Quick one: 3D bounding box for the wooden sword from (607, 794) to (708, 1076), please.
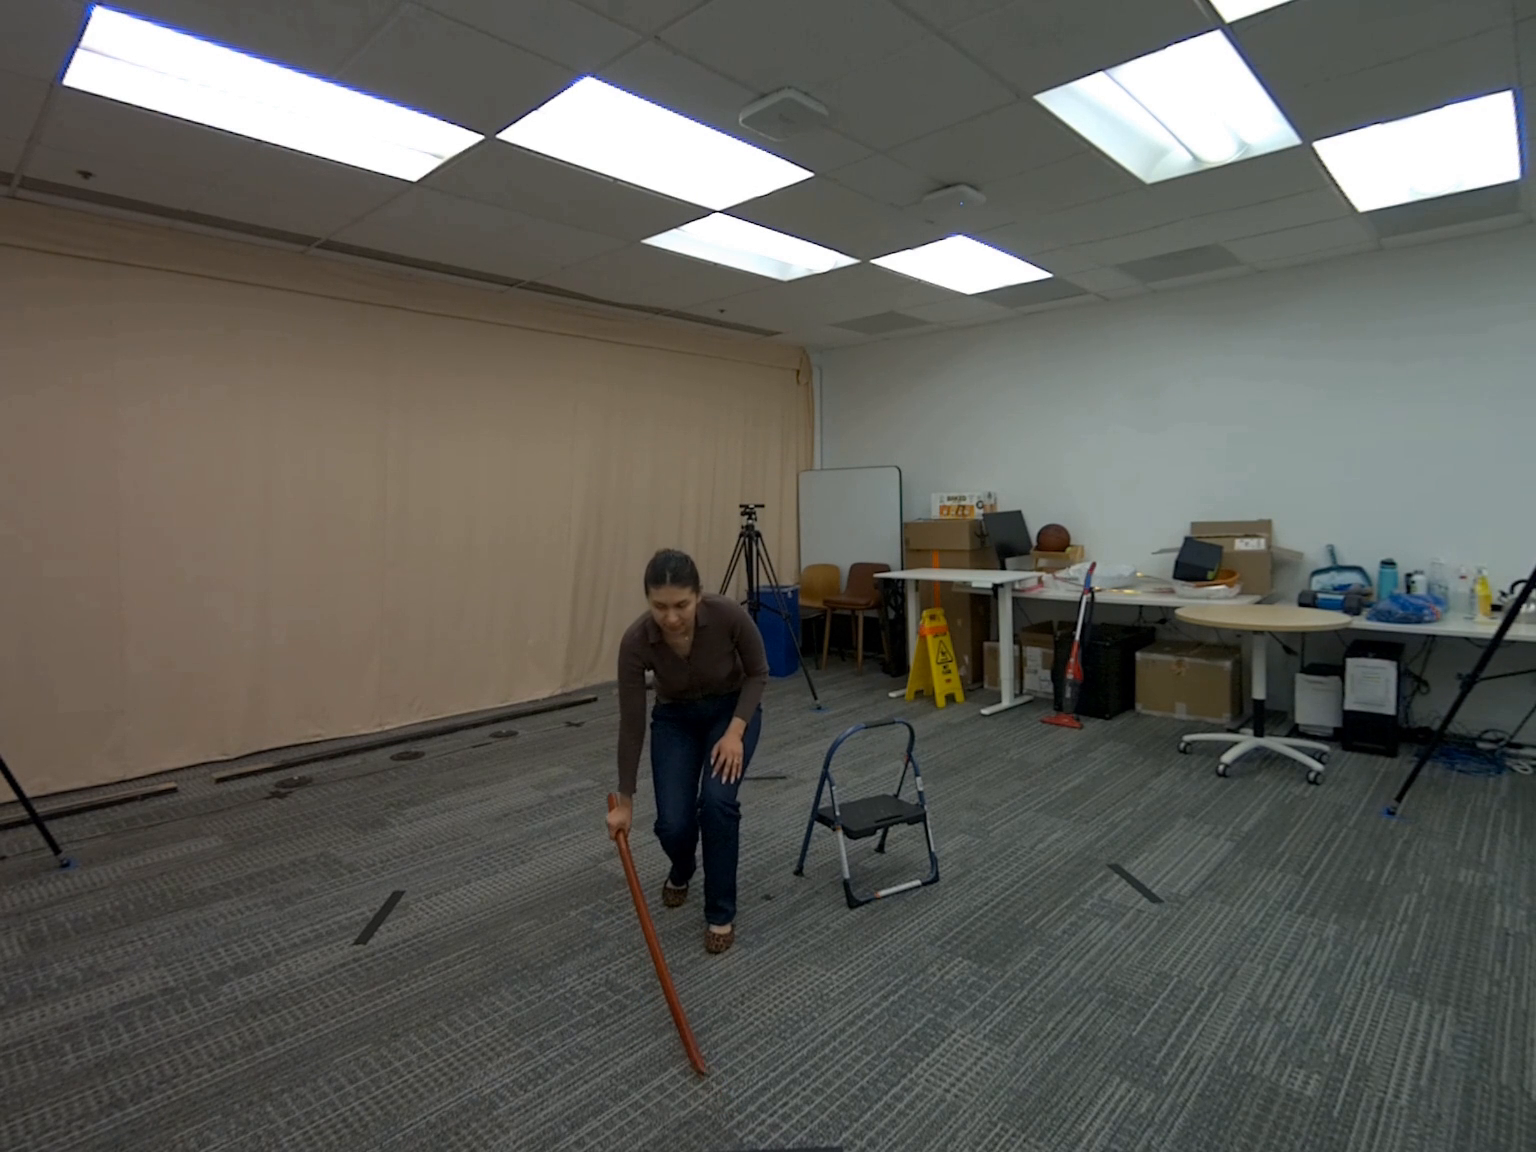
[{"bbox_3d":[-0.338,0.978,2.472,0.023,0.051,1.058,48,0,-34],"label":"wooden sword"}]
